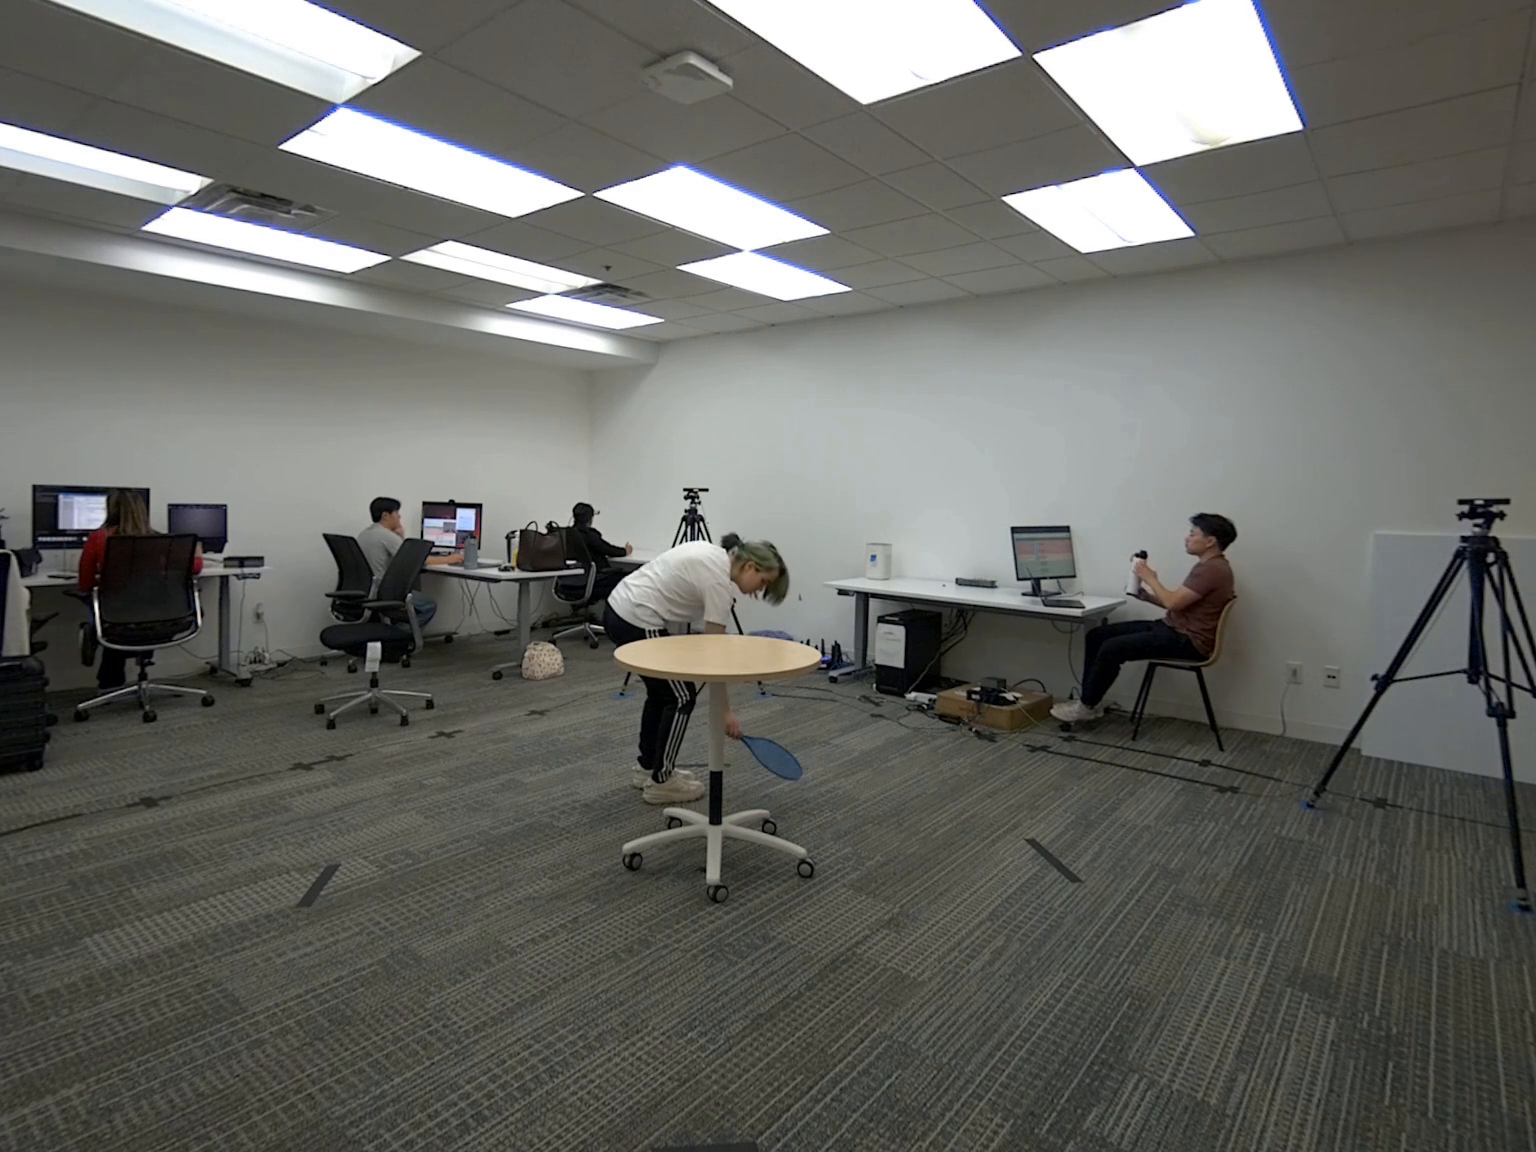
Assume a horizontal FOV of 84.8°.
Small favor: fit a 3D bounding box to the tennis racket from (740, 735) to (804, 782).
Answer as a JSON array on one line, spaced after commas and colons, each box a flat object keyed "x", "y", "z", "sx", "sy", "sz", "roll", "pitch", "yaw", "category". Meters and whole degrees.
[{"x": -0.049, "y": 0.758, "z": 3.738, "sx": 0.434, "sy": 0.031, "sz": 0.214, "roll": 30, "pitch": 21, "yaw": 2, "category": "tennis racket"}]
